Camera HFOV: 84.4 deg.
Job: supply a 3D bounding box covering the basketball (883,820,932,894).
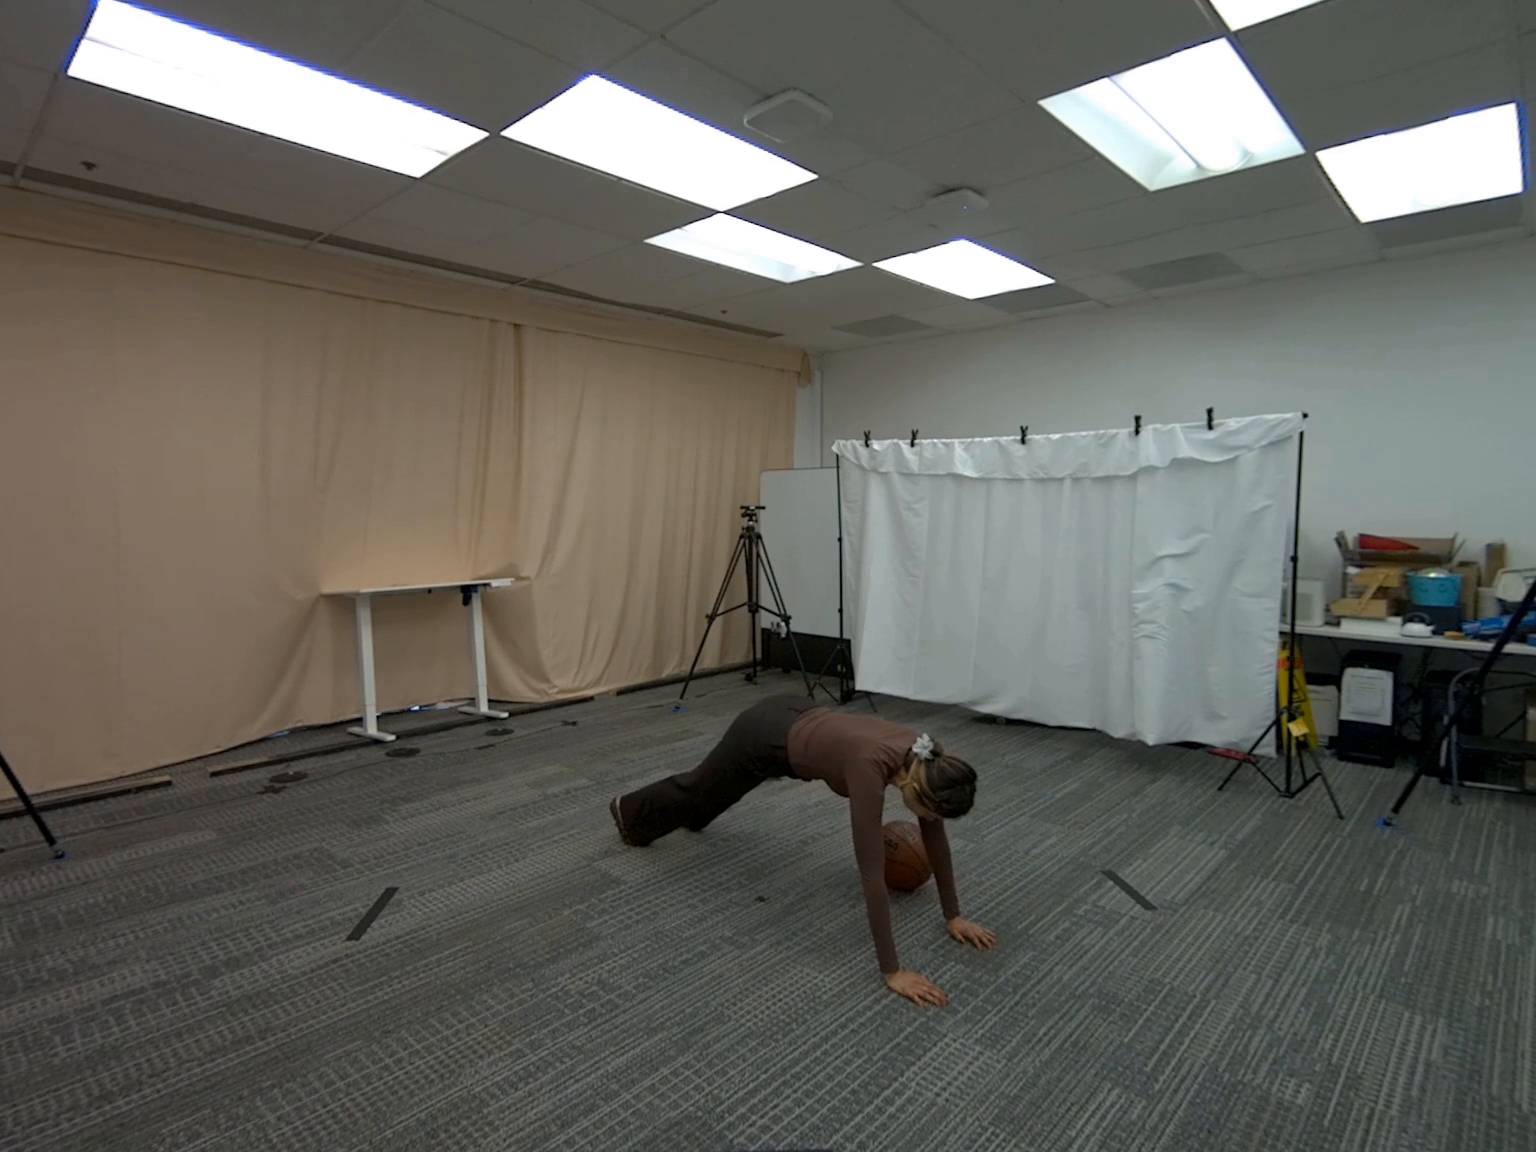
[{"bbox_3d":[0.503,1.015,3.068,0.236,0.235,0.237,0,4,-2],"label":"basketball"}]
